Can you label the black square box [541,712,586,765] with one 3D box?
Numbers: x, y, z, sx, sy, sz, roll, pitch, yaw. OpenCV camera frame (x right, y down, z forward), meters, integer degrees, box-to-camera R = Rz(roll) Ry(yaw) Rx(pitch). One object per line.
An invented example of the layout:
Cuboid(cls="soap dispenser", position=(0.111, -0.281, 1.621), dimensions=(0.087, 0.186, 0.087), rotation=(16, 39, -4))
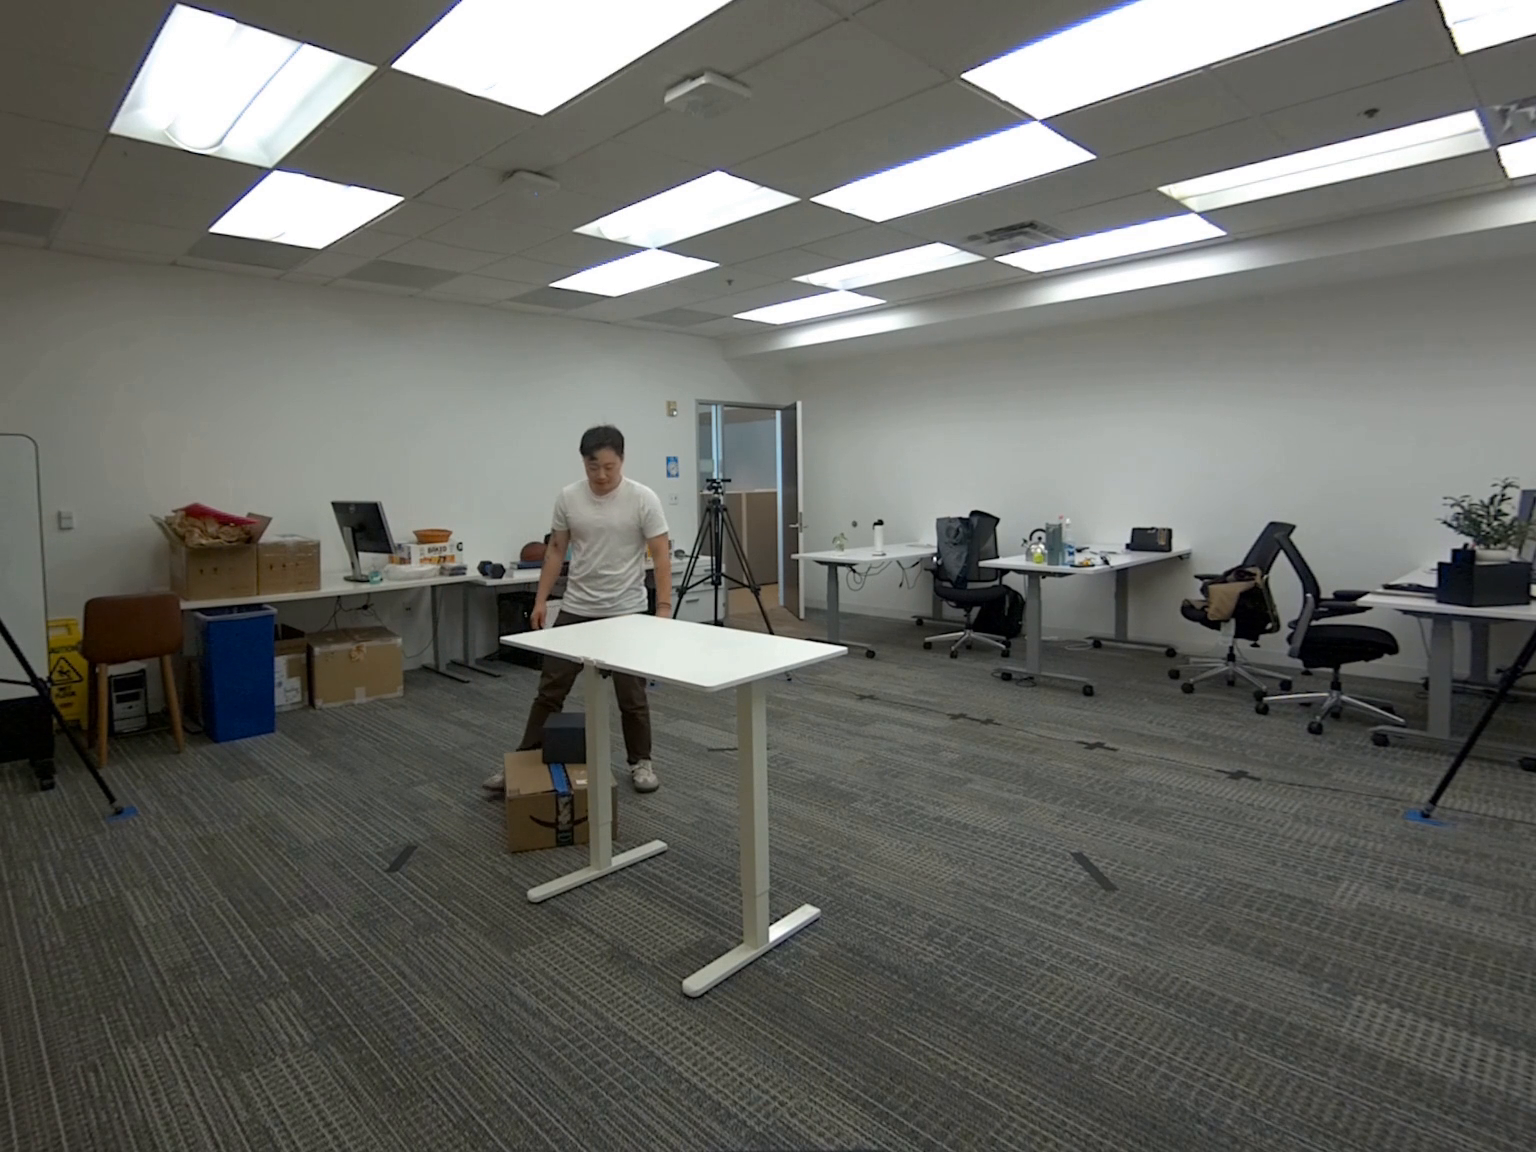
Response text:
Cuboid(cls="black square box", position=(-0.850, 0.697, 3.690), dimensions=(0.216, 0.155, 0.230), rotation=(0, 5, -6))
